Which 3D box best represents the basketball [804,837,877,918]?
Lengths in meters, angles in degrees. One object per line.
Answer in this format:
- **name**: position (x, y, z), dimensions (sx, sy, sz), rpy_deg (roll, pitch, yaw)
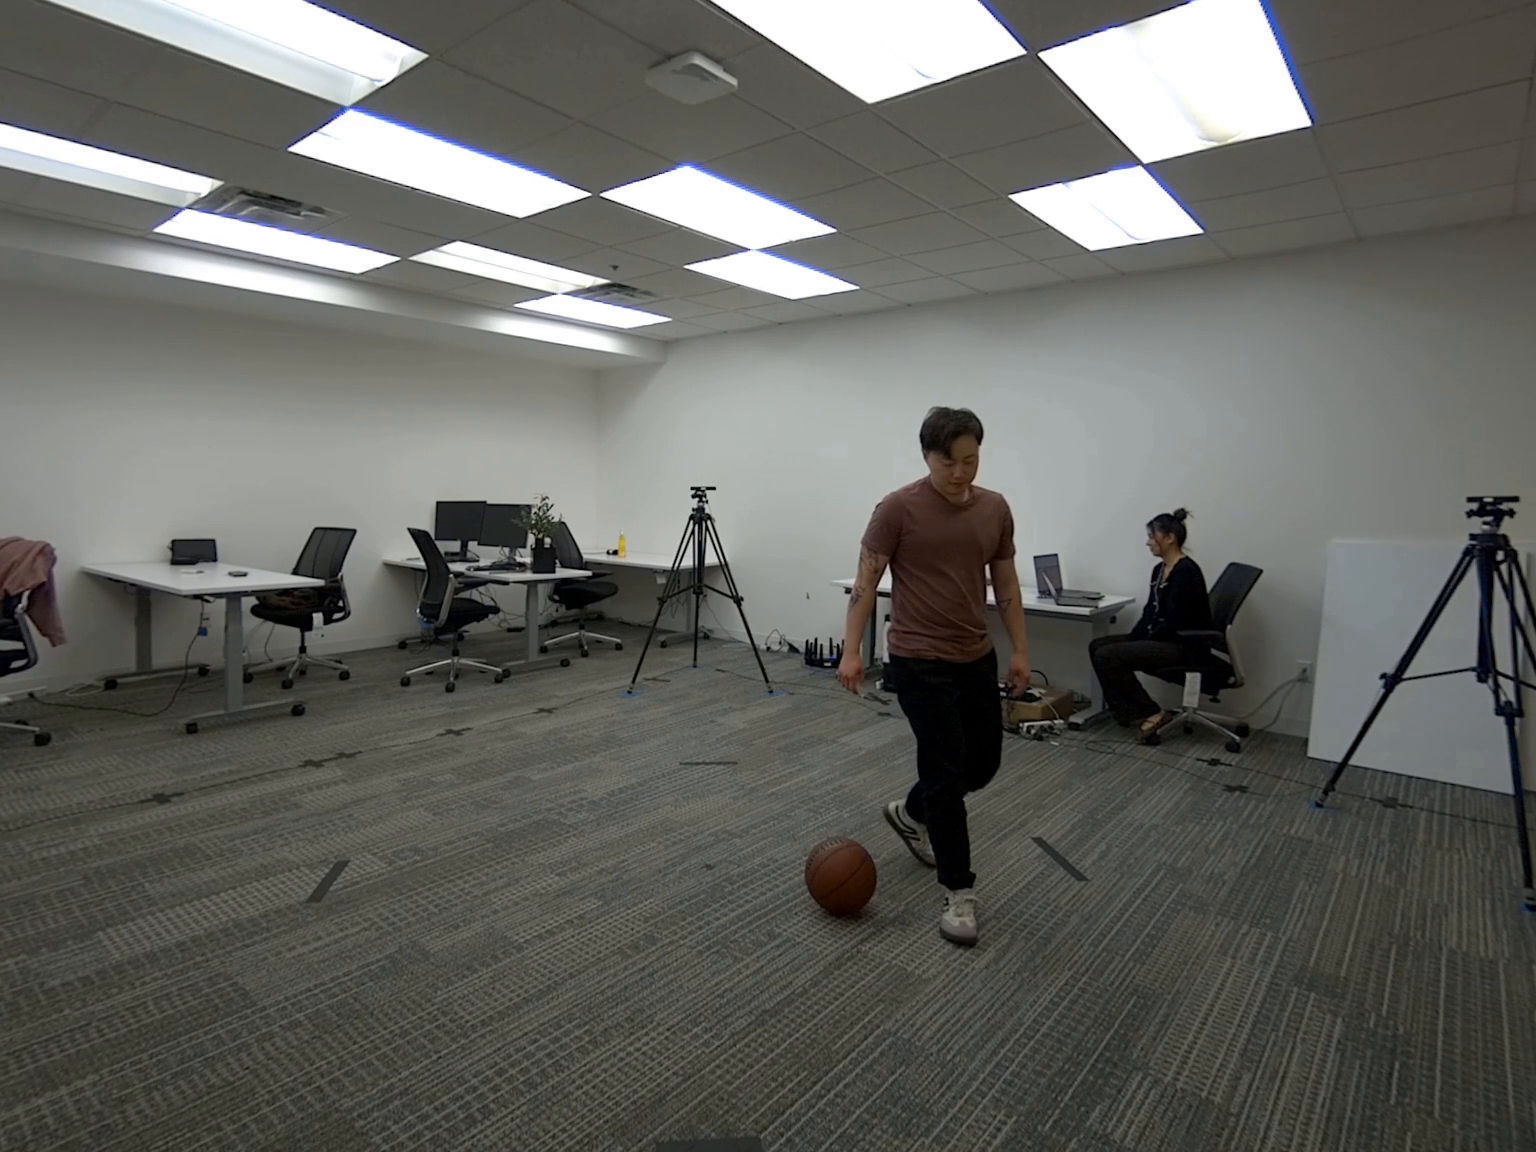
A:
- **basketball**: position (0.236, 0.988, 2.816), dimensions (0.235, 0.235, 0.237), rpy_deg (1, 4, -2)
